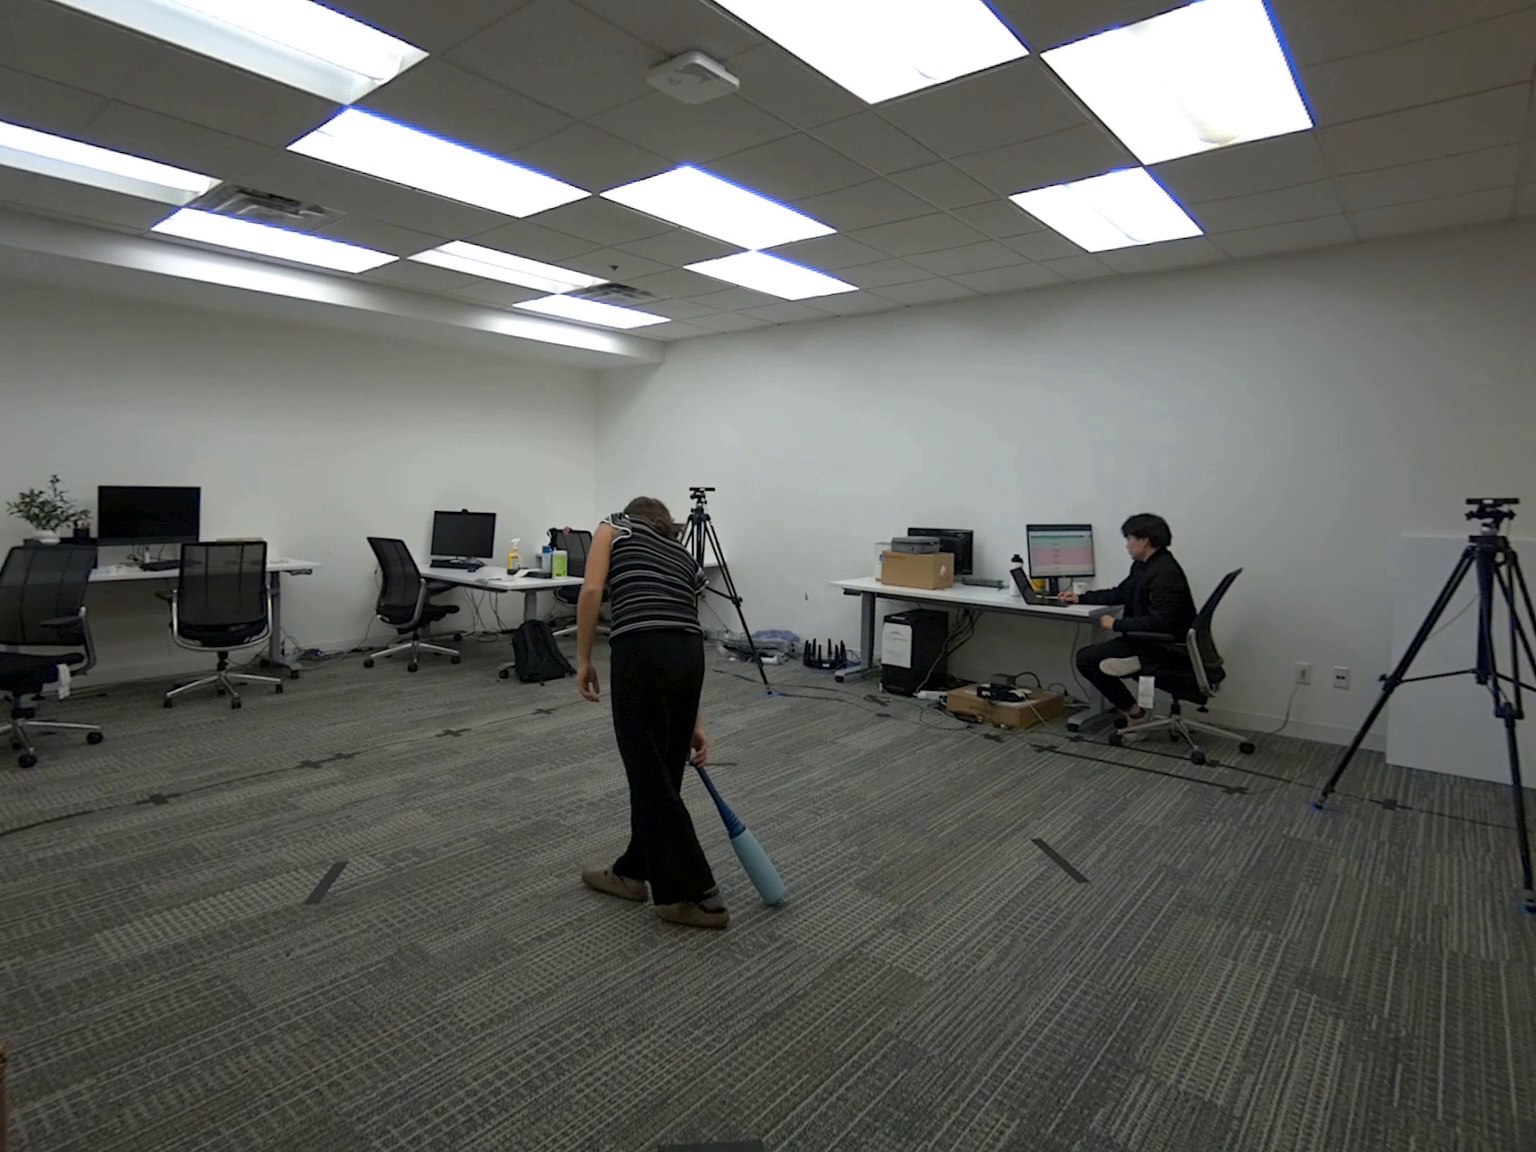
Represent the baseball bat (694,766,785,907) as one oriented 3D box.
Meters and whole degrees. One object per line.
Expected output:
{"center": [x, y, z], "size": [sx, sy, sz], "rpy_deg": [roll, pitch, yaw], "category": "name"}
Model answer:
{"center": [-0.123, 0.857, 2.870], "size": [0.089, 0.546, 0.088], "rpy_deg": [-32, -4, -3], "category": "baseball bat"}
